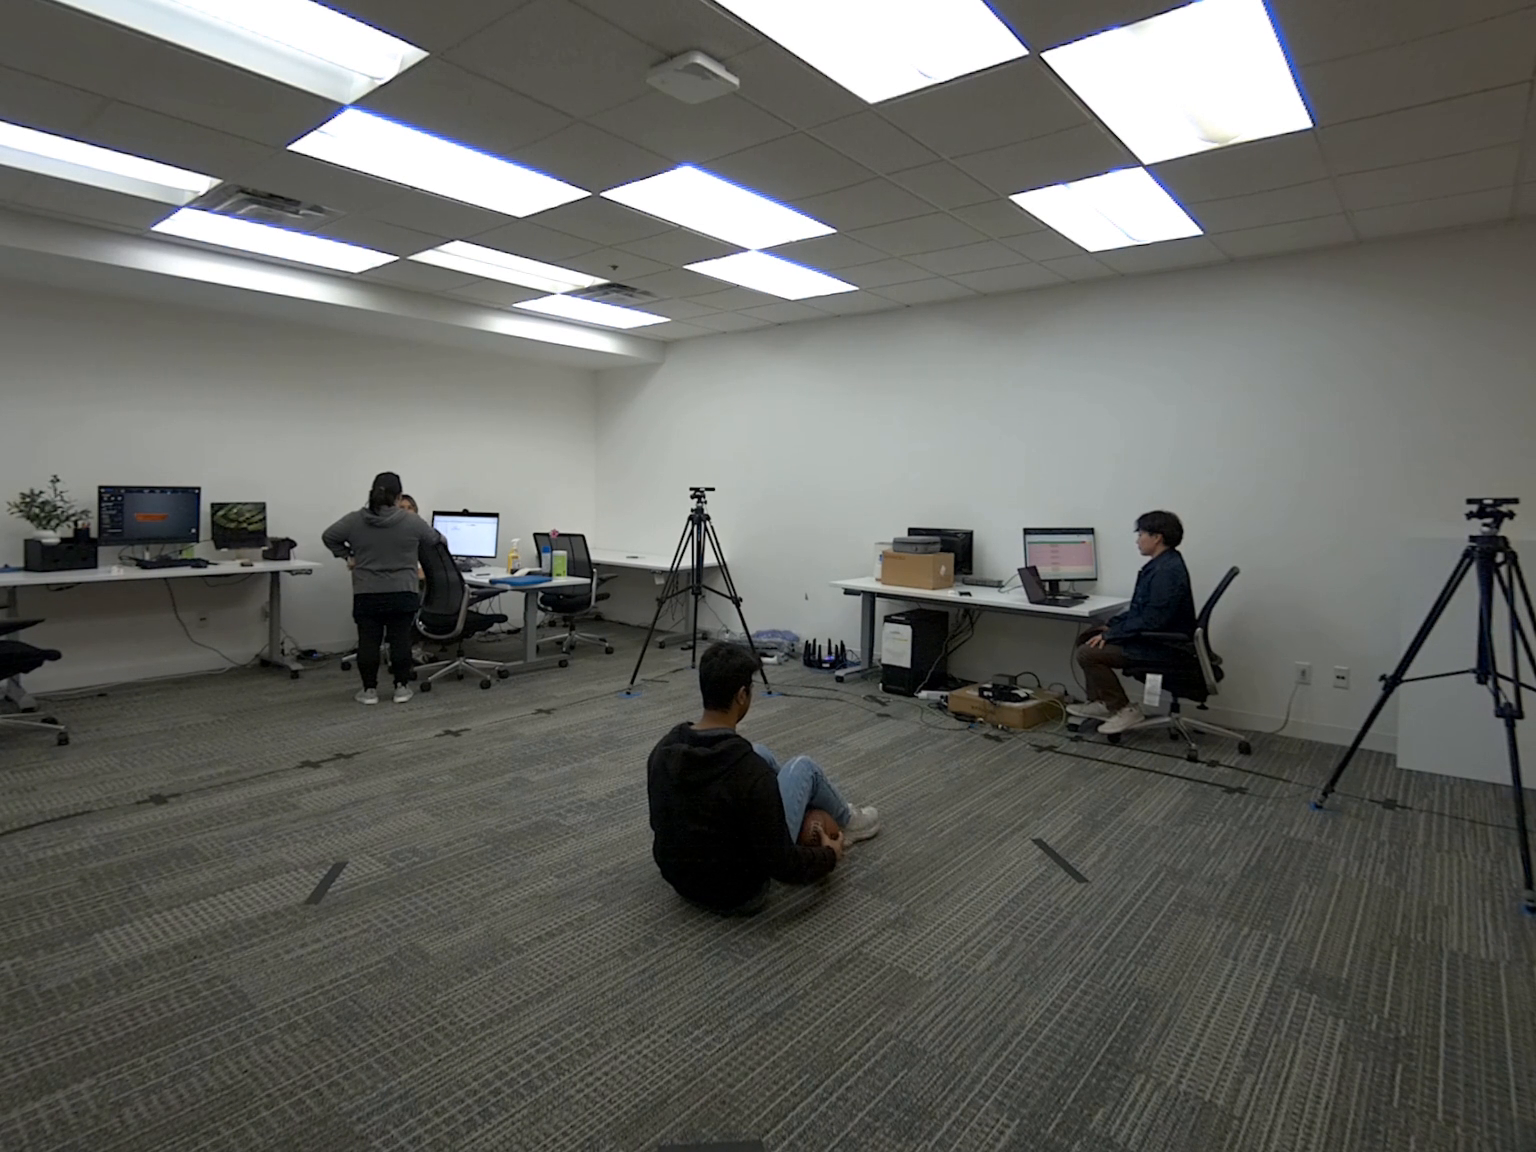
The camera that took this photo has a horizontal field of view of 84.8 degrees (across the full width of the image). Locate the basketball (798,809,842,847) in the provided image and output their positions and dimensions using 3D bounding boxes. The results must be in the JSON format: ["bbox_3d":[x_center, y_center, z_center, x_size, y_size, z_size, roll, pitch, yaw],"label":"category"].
[{"bbox_3d":[0.154,0.950,3.063,0.235,0.235,0.237,1,4,-2],"label":"basketball"}]
